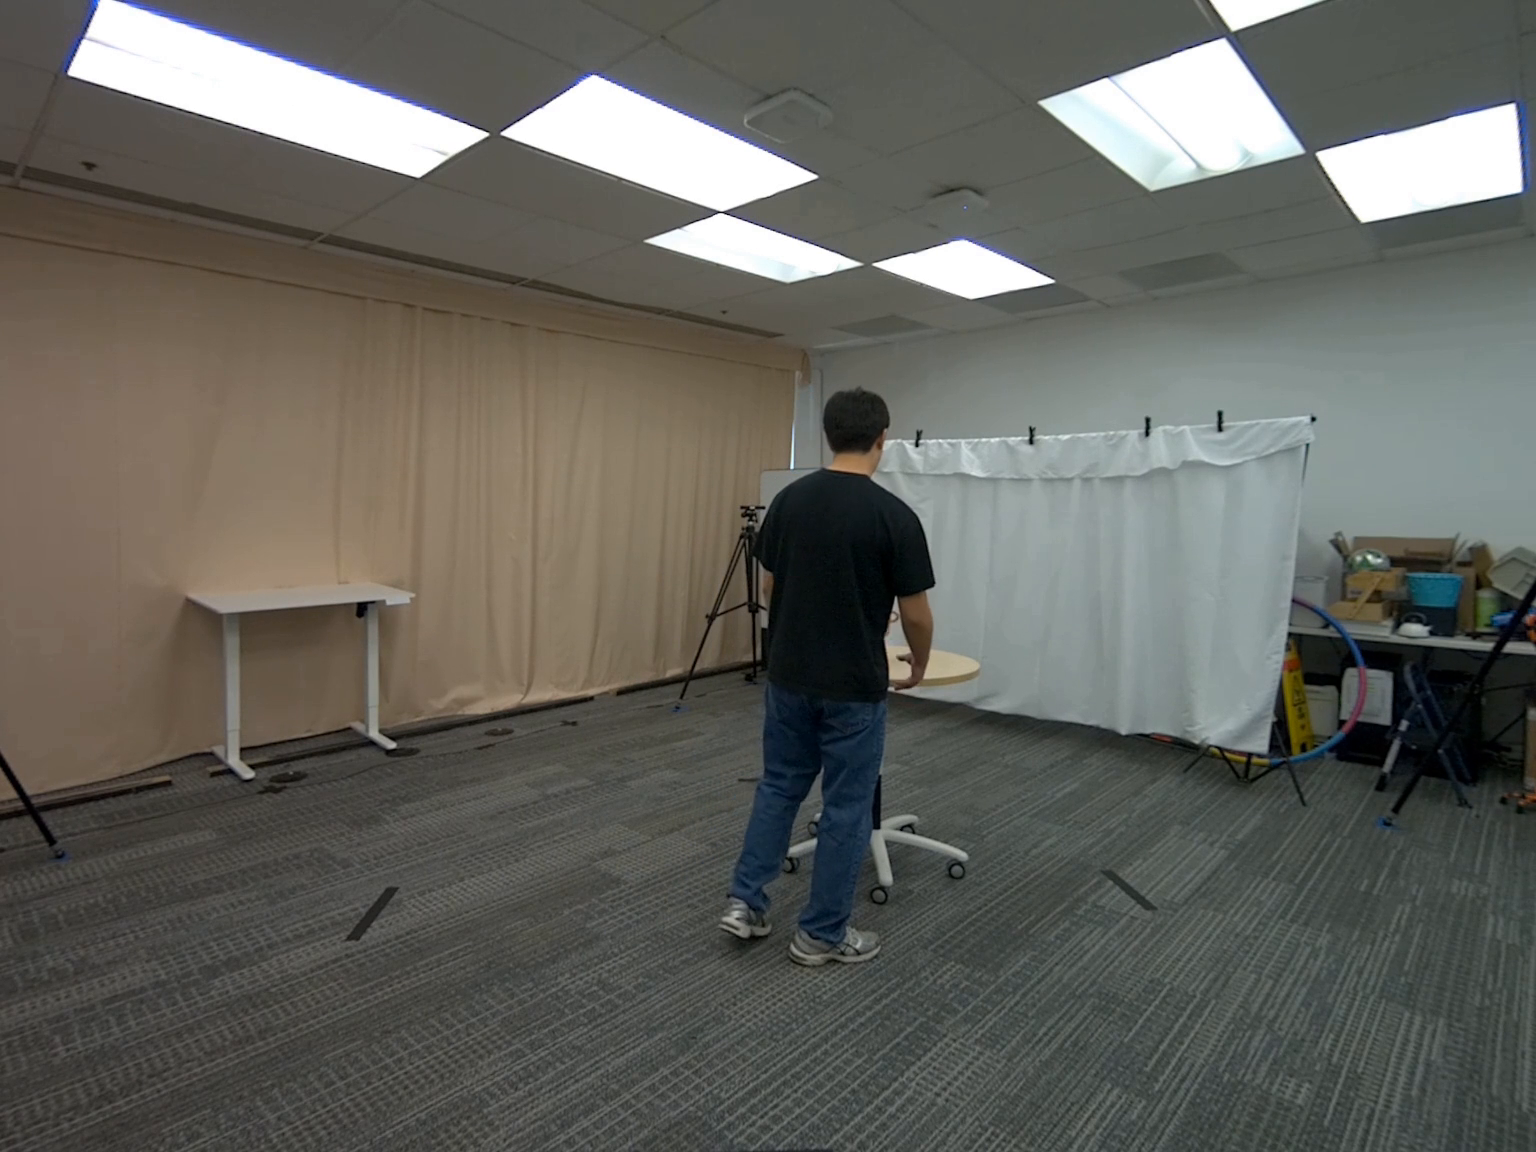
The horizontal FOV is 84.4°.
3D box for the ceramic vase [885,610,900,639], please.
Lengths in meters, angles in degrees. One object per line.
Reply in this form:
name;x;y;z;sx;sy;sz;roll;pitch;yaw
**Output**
ceramic vase;0.415;0.215;3.232;0.130;0.219;0.164;-1;4;-40
